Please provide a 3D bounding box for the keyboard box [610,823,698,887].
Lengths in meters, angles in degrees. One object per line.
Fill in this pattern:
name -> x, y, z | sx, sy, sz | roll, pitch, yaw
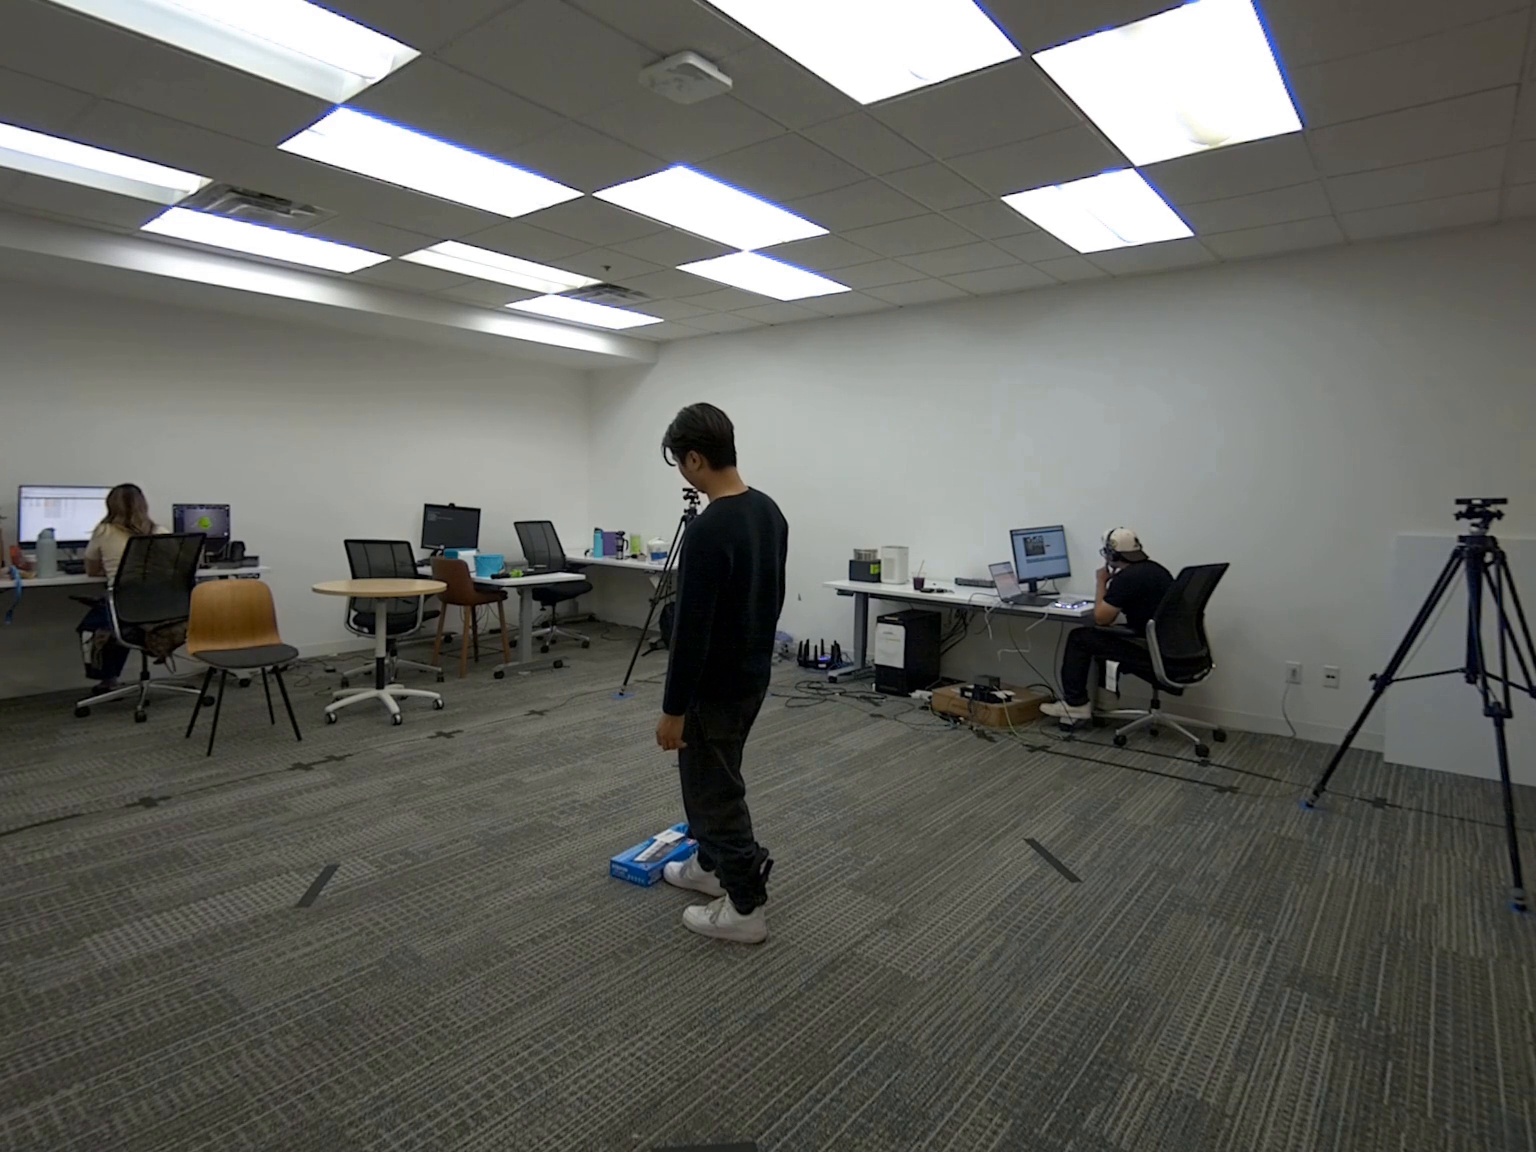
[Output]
keyboard box -> -0.398, 1.030, 3.184 | 0.181, 0.059, 0.425 | 3, 6, 31
